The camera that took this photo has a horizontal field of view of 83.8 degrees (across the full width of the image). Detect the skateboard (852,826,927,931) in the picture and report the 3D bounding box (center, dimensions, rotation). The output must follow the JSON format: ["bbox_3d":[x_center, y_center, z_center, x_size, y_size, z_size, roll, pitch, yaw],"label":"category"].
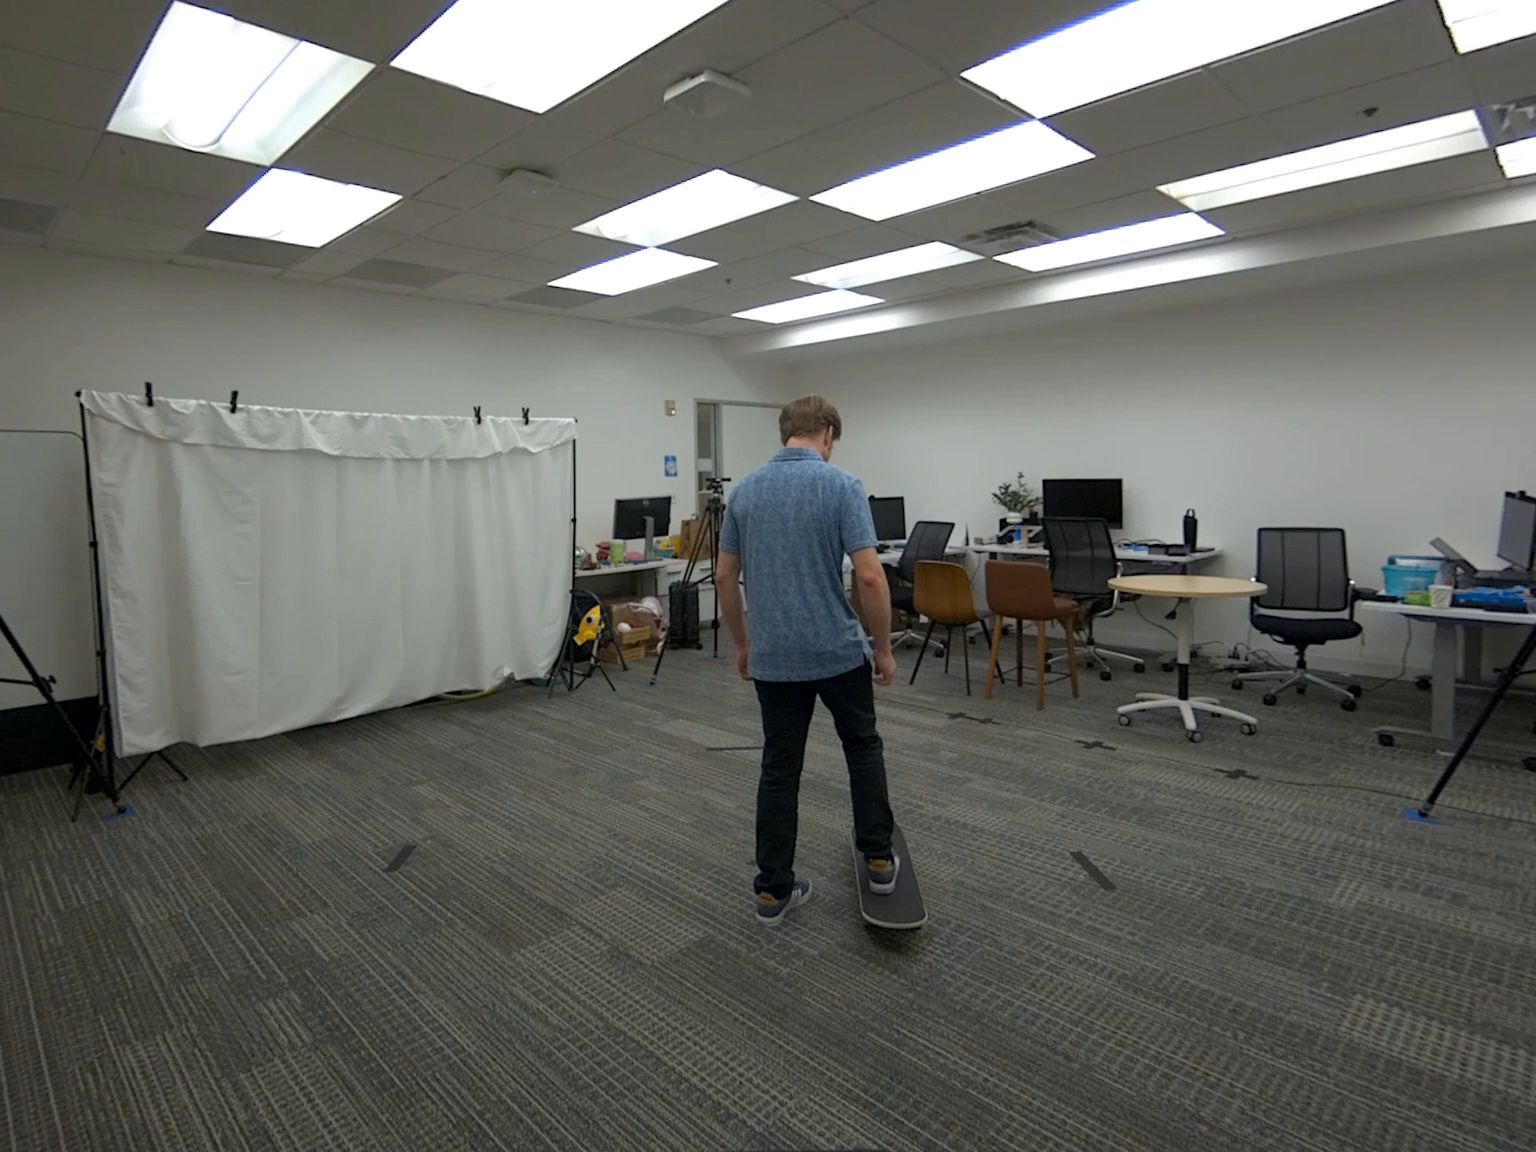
[{"bbox_3d":[0.388,1.004,2.853,0.194,0.110,0.787,-3,7,2],"label":"skateboard"}]
